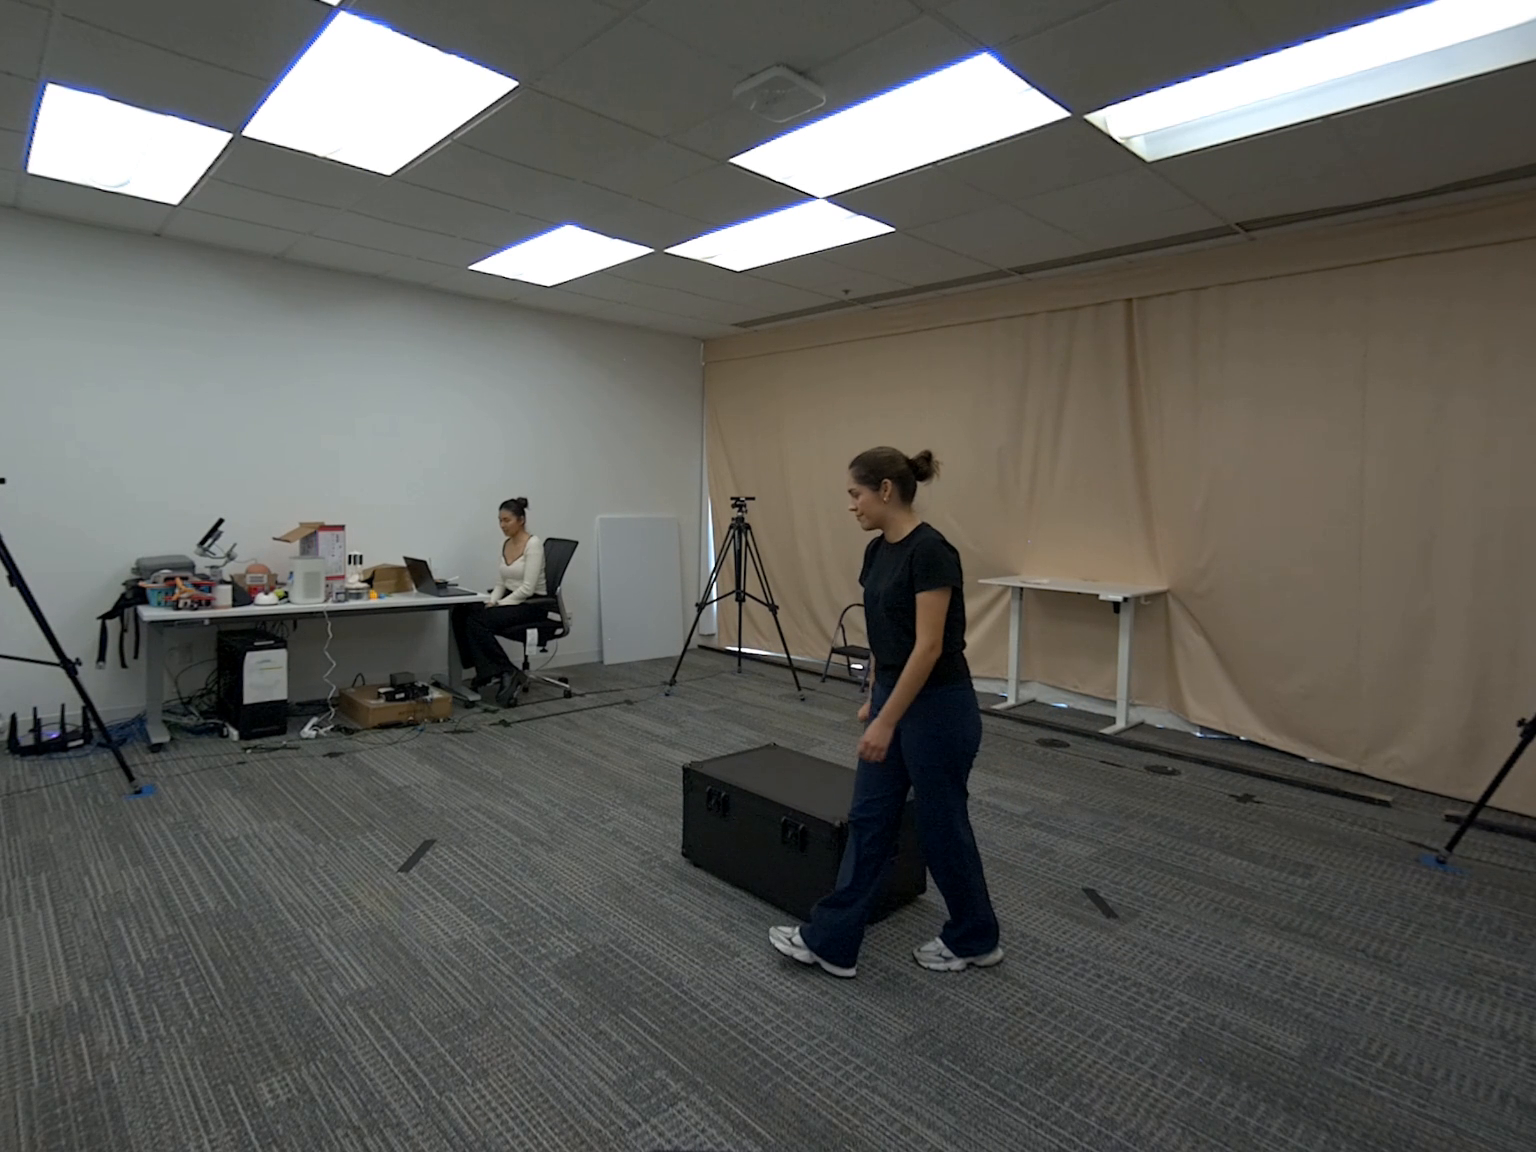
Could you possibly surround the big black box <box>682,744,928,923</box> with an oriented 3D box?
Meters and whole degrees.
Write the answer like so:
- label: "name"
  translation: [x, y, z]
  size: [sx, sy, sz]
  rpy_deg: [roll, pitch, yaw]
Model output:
- label: "big black box"
  translation: [0.095, 0.925, 3.088]
  size: [0.509, 0.395, 0.884]
  rpy_deg: [-2, 7, -44]
